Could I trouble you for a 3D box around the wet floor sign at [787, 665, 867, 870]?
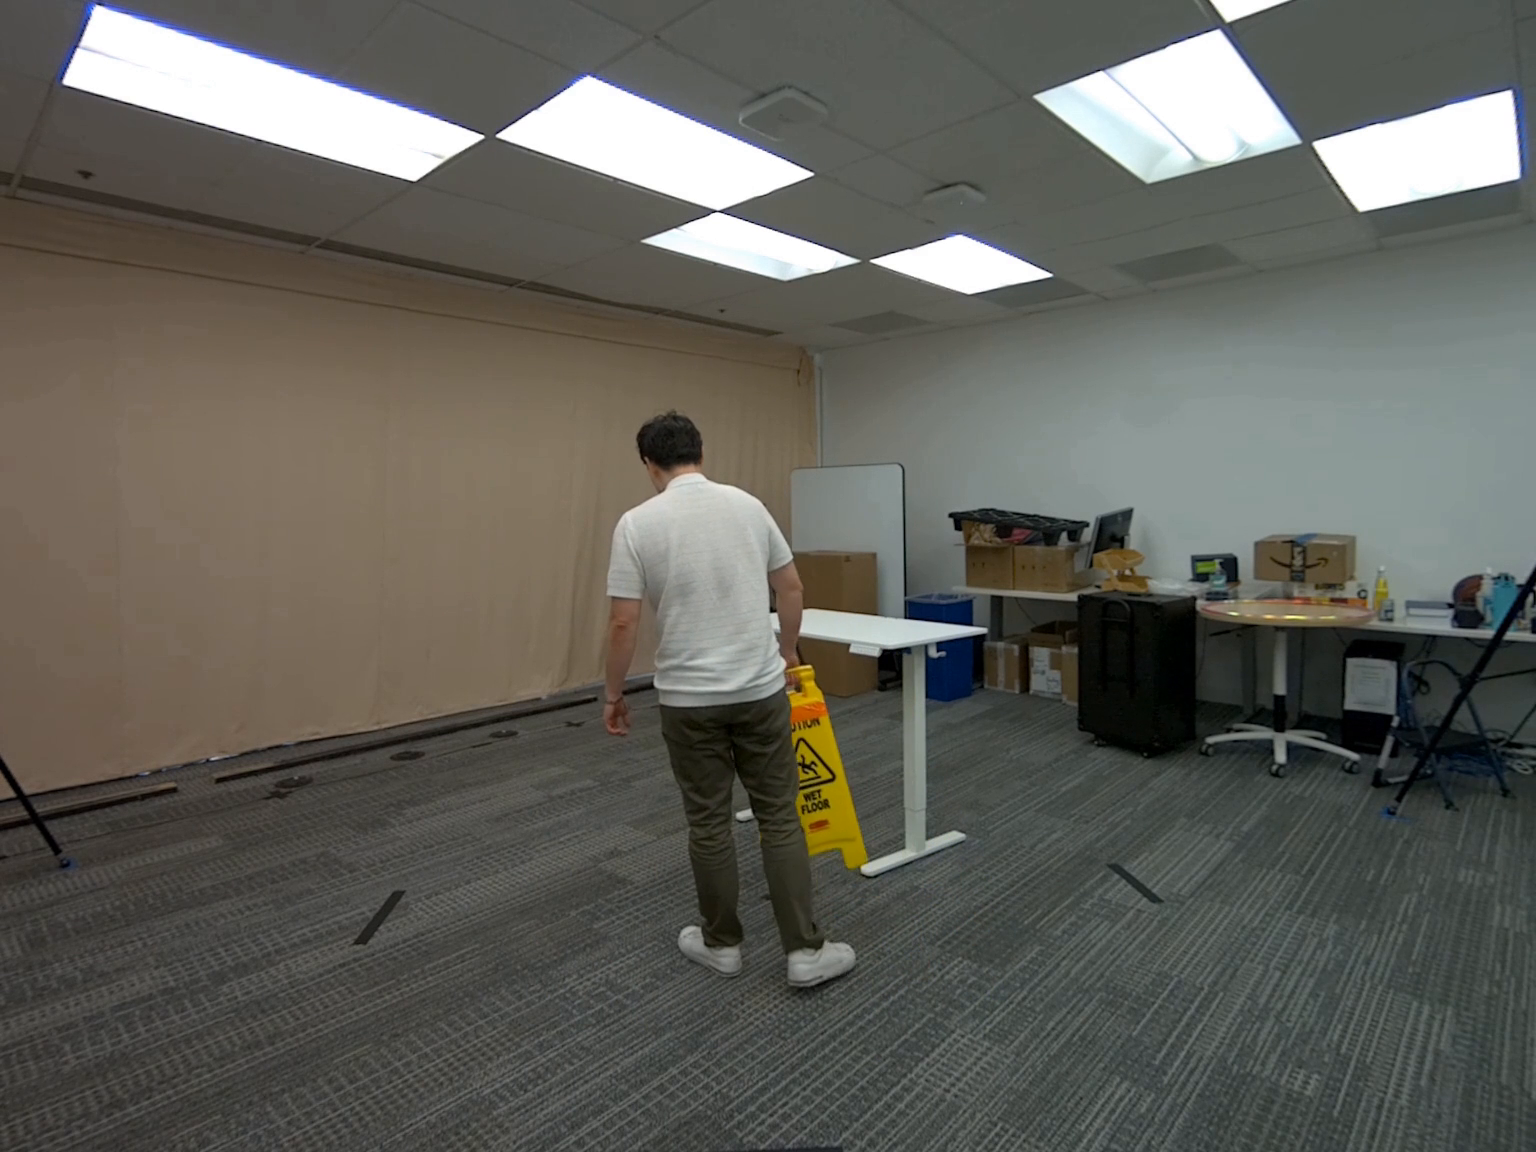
[{"bbox_3d":[0.095,0.620,2.769,0.278,0.642,0.295,-10,8,-15],"label":"wet floor sign"}]
